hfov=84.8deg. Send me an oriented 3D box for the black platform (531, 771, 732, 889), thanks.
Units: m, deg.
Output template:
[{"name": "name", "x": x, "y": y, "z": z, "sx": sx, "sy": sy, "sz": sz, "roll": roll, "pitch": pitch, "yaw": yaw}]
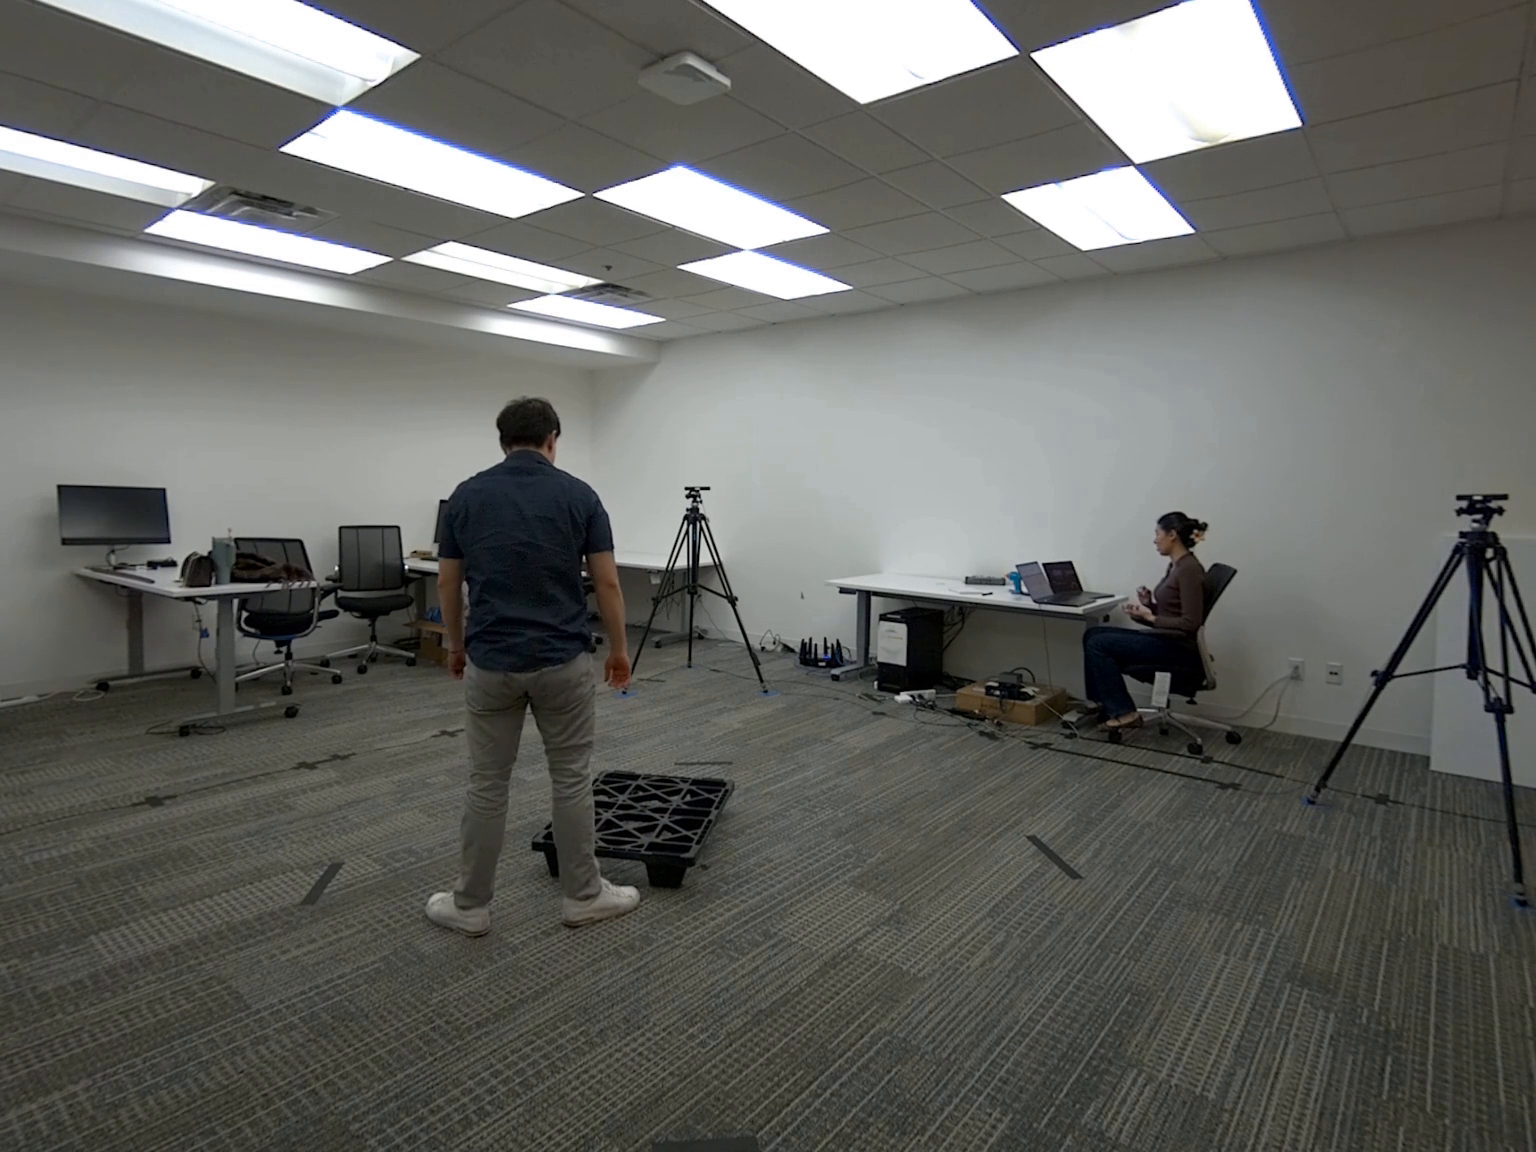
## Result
[{"name": "black platform", "x": -0.504, "y": 0.972, "z": 3.334, "sx": 0.612, "sy": 0.143, "sz": 0.800, "roll": 1, "pitch": 5, "yaw": 9}]
